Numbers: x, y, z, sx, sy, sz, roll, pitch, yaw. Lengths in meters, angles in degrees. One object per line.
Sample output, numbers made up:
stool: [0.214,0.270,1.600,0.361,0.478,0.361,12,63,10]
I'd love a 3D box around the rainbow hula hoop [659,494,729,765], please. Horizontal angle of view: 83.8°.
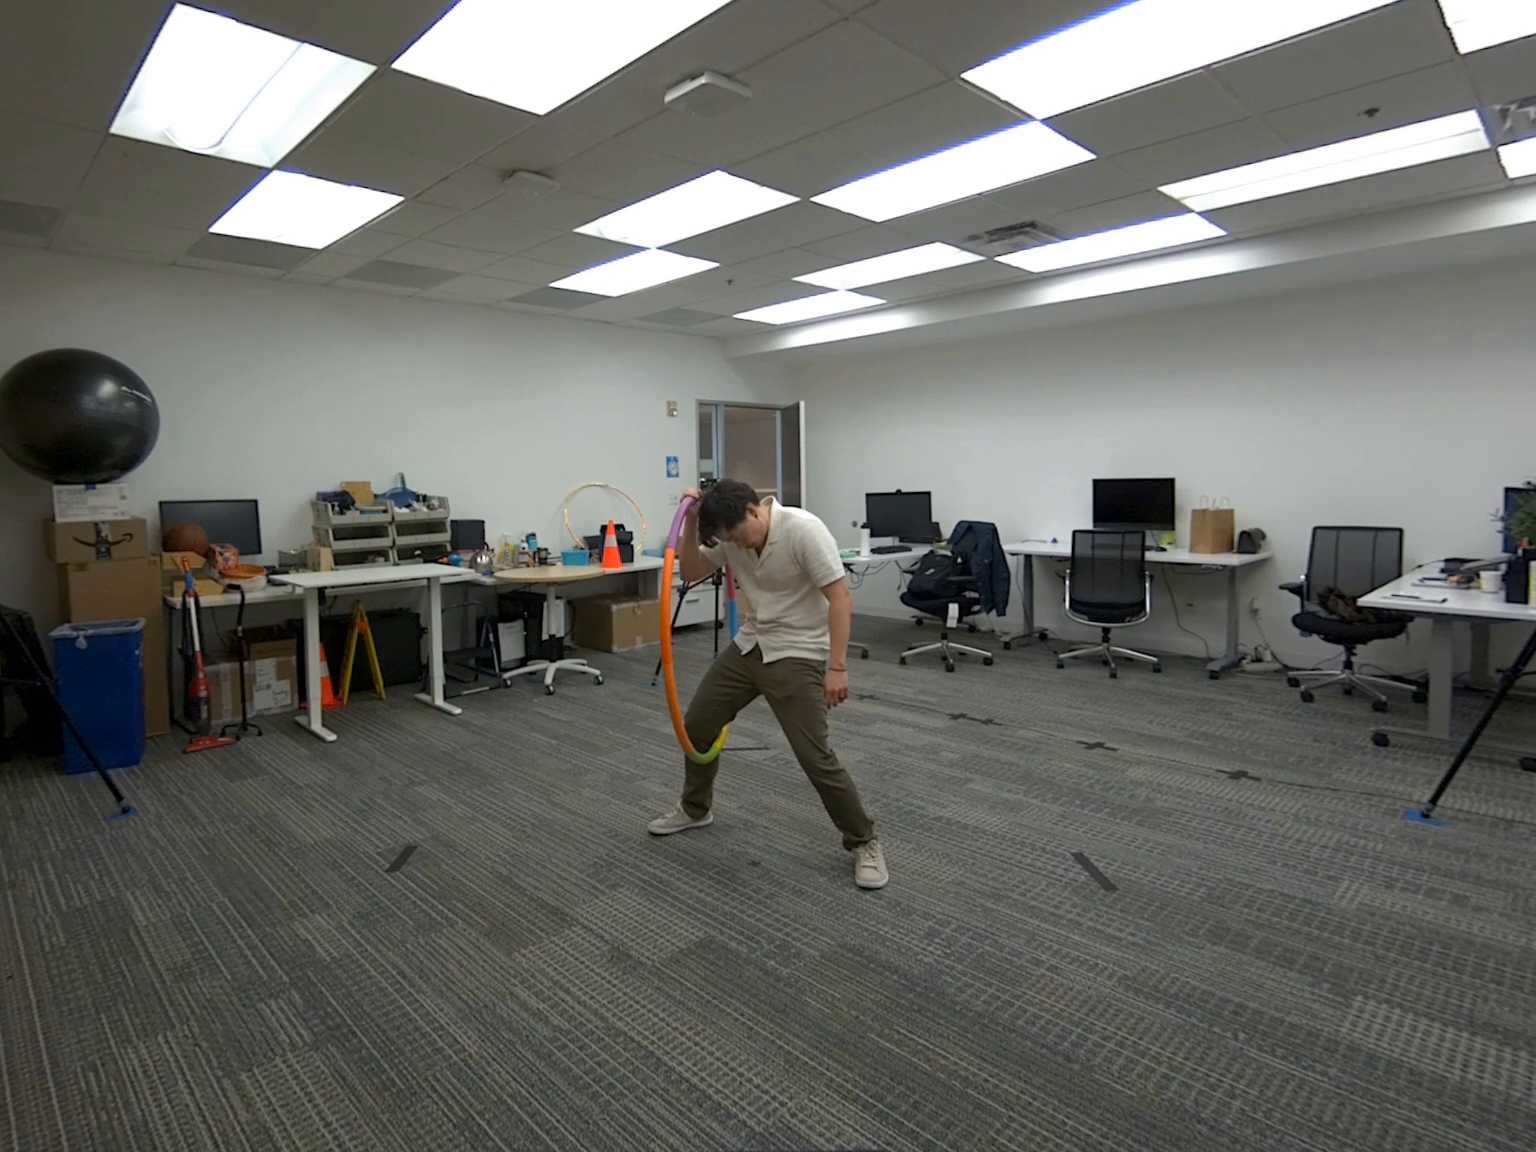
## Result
rainbow hula hoop: [-0.233,0.181,3.179,0.036,0.975,0.971,-3,4,10]
